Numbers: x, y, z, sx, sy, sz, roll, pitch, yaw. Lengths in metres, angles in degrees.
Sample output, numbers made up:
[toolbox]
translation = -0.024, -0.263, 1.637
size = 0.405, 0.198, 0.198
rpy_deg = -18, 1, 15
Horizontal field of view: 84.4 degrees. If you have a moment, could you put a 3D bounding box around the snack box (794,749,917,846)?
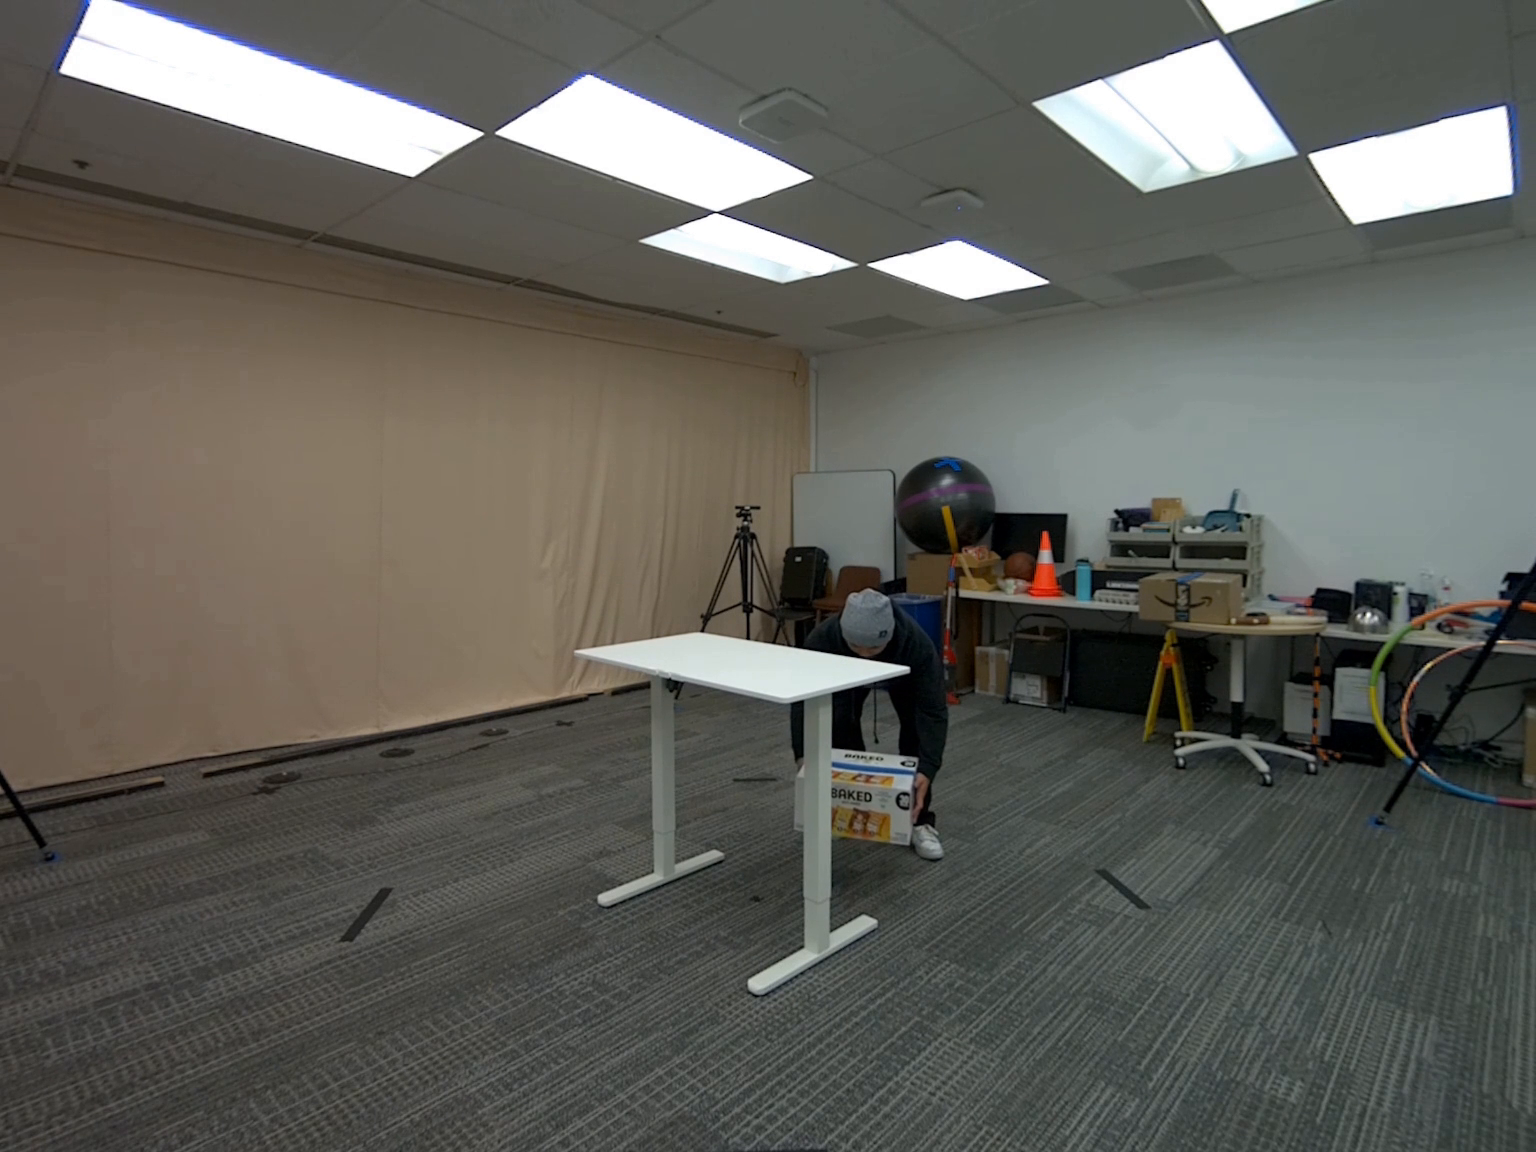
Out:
[snack box]
translation = 0.337, 0.799, 3.110
size = 0.413, 0.205, 0.336
rpy_deg = 3, 8, 16
